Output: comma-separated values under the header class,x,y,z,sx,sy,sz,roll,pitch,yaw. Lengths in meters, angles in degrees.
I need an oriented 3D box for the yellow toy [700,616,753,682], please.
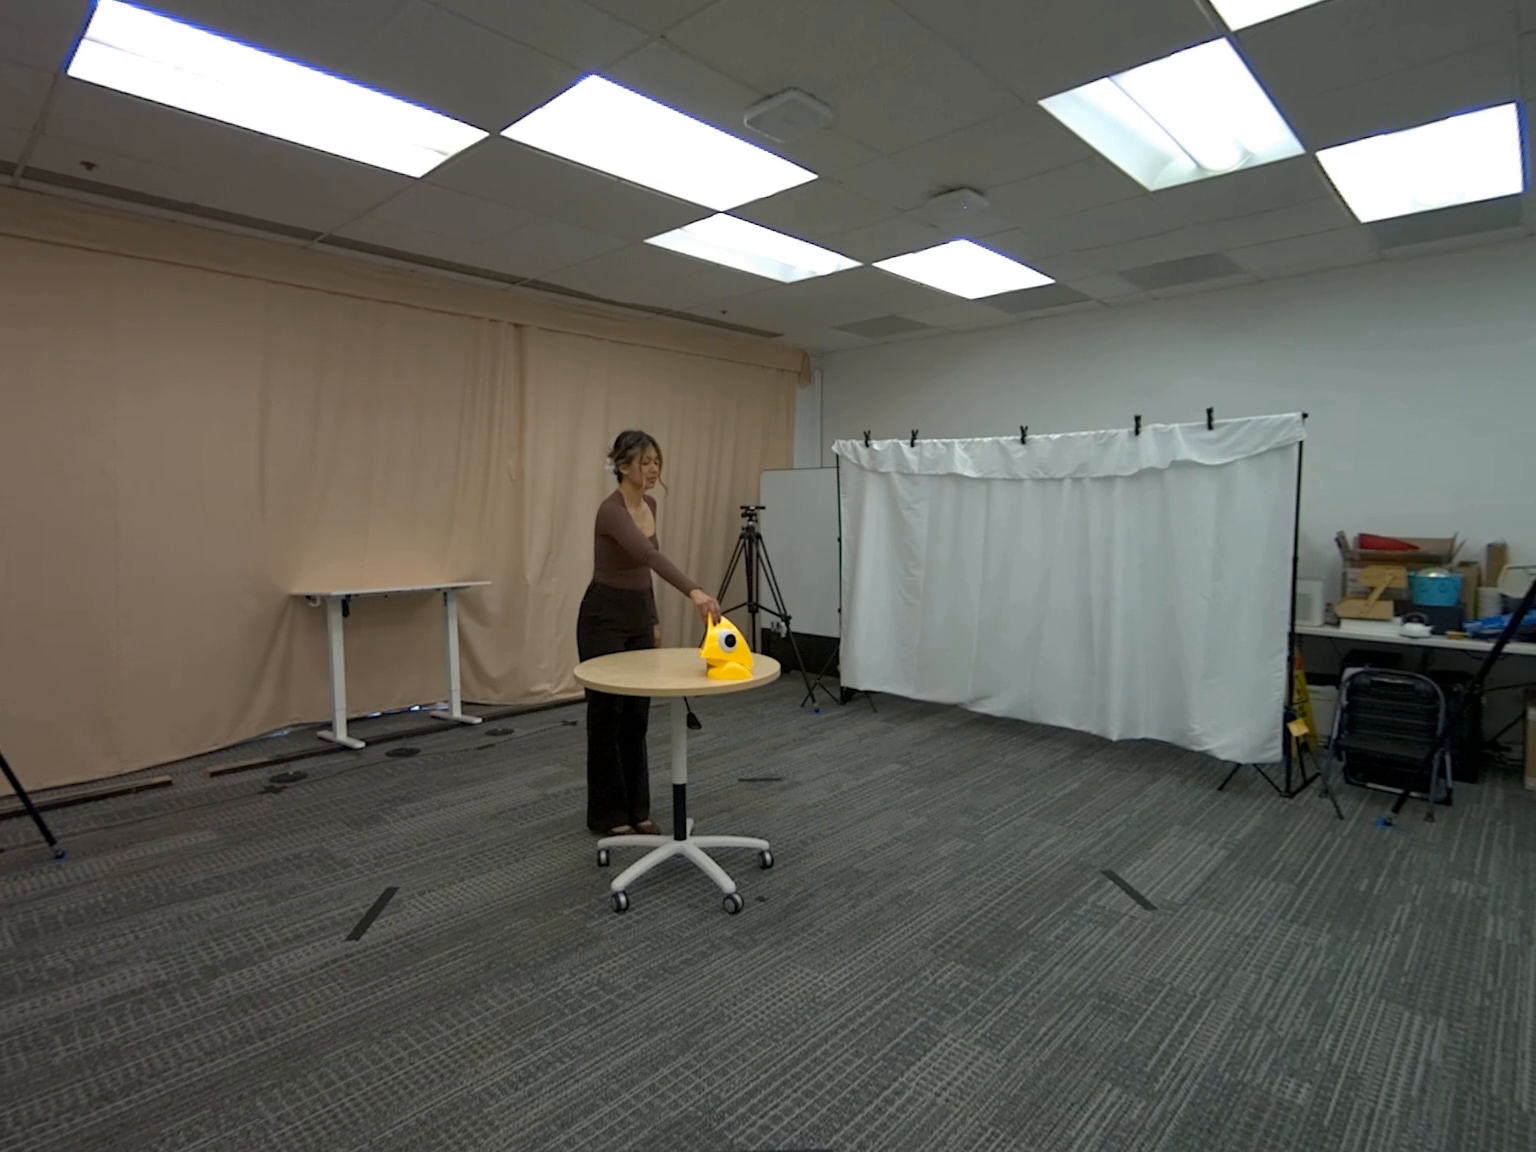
class,x,y,z,sx,sy,sz,roll,pitch,yaw
yellow toy,-0.144,0.233,2.975,0.193,0.230,0.206,-1,4,-3
